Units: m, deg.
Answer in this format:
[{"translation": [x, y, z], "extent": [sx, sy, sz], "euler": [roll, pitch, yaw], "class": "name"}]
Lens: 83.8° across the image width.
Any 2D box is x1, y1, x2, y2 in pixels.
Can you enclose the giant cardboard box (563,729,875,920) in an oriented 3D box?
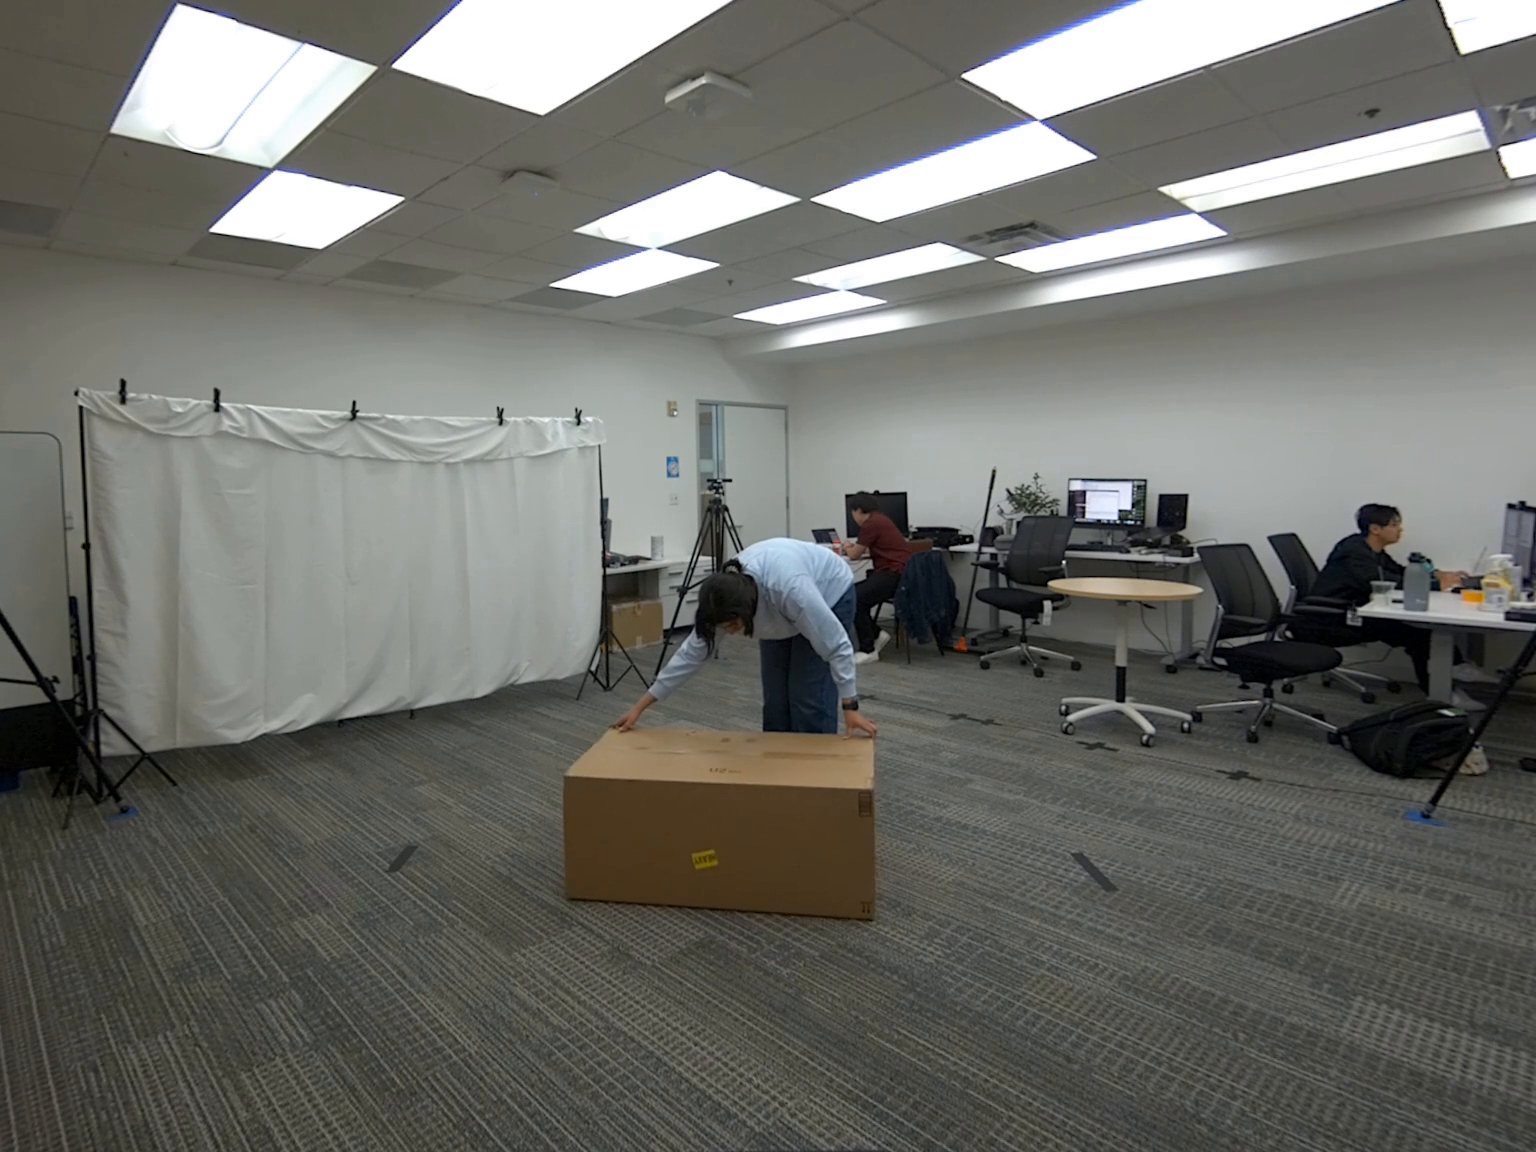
[{"translation": [-0.144, 0.841, 3.037], "extent": [1.036, 0.425, 0.574], "euler": [1, 5, 9], "class": "giant cardboard box"}]
